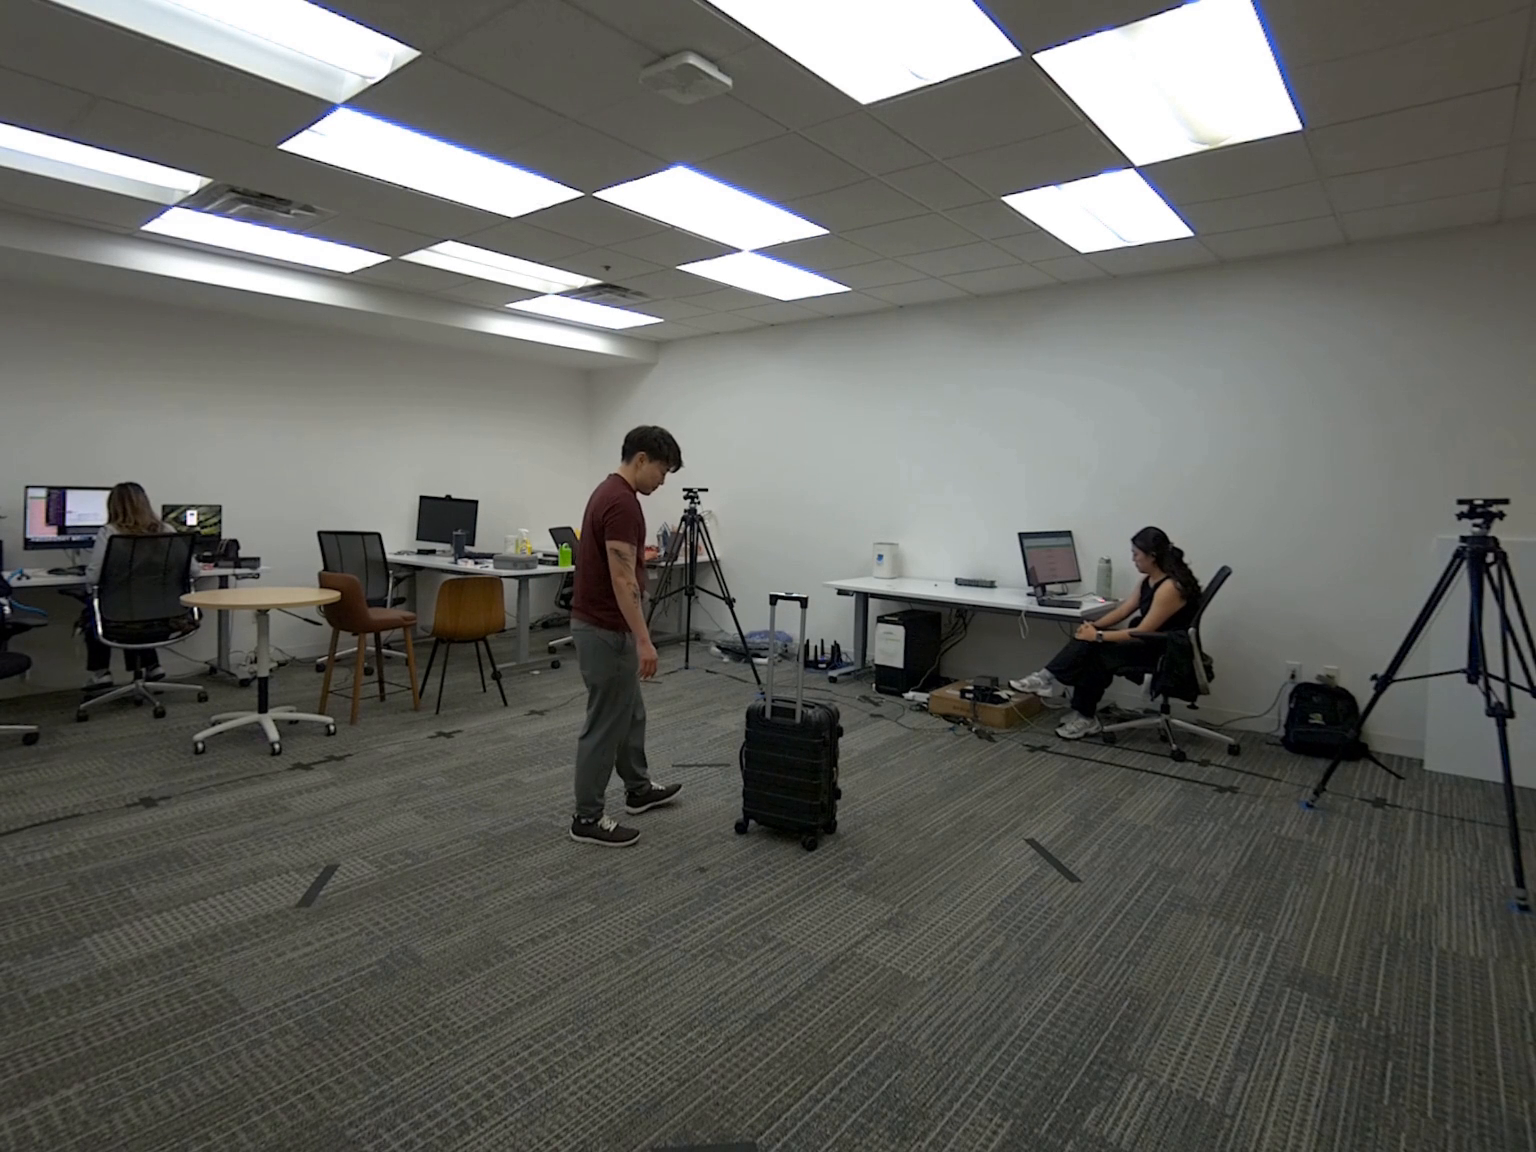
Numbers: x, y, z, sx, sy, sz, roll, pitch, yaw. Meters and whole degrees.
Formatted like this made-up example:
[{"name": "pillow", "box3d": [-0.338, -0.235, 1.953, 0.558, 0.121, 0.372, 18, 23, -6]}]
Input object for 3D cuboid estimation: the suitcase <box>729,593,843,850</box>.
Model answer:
[{"name": "suitcase", "box3d": [0.094, 0.565, 3.464, 0.394, 0.979, 0.250, 3, 0, 26]}]
